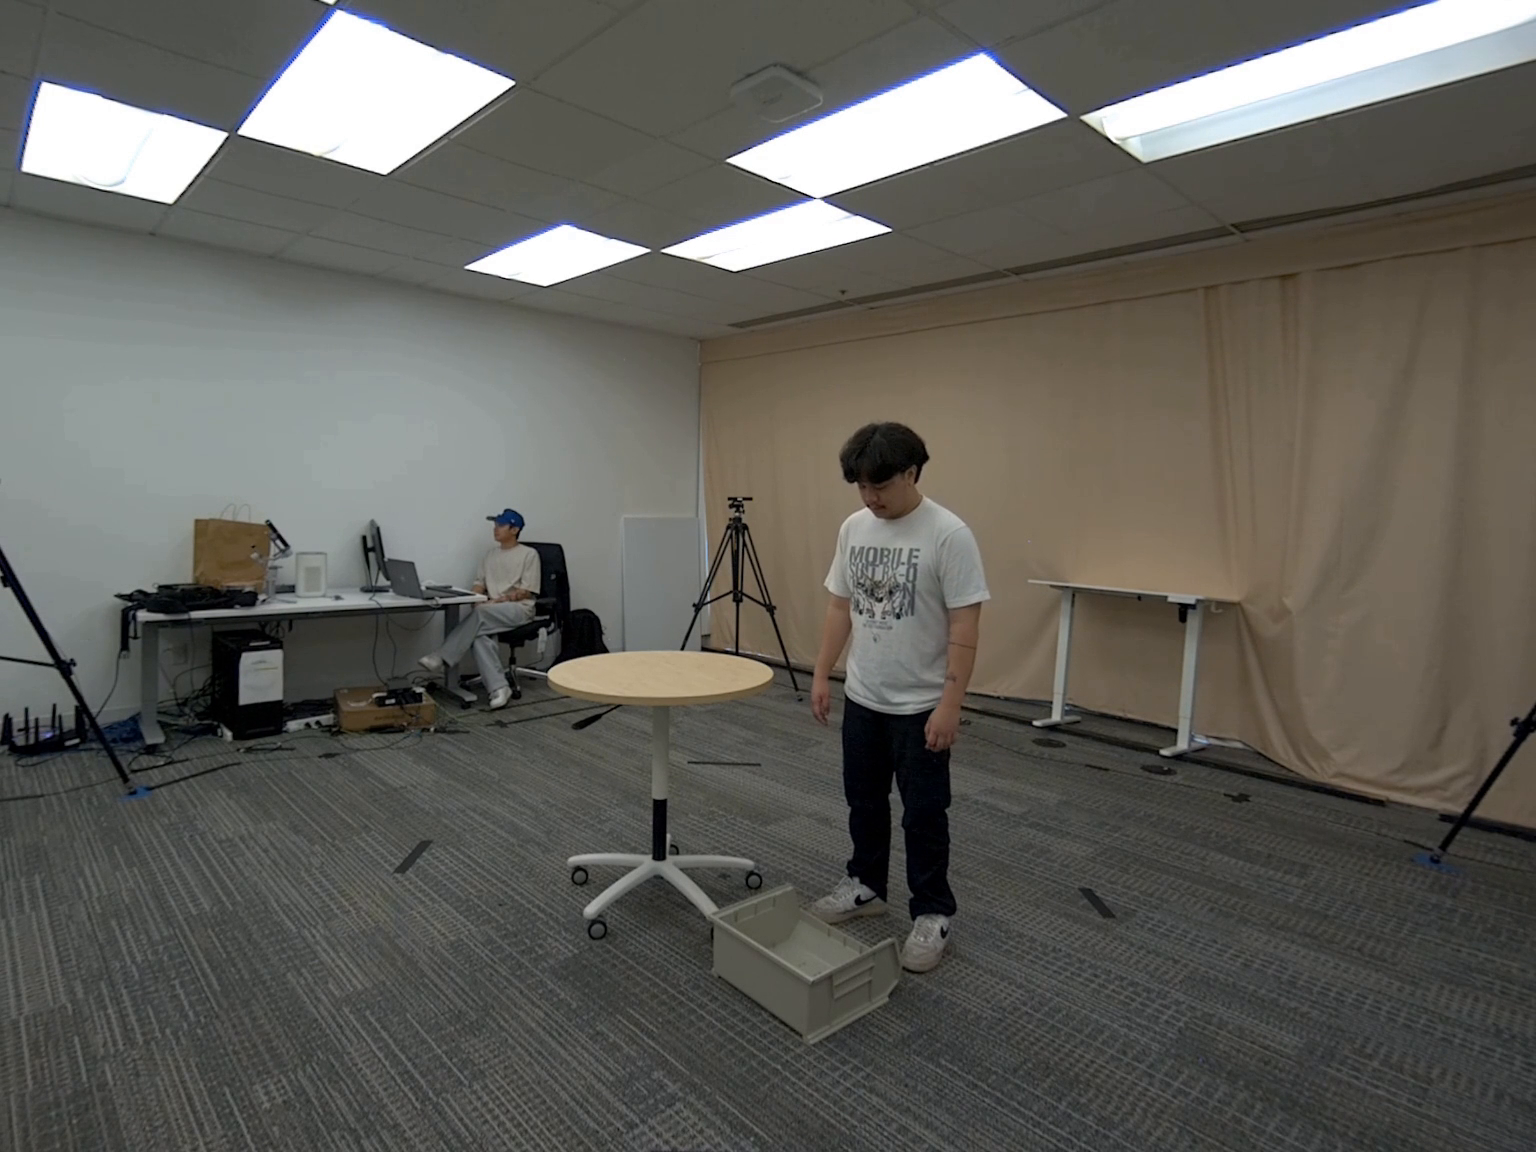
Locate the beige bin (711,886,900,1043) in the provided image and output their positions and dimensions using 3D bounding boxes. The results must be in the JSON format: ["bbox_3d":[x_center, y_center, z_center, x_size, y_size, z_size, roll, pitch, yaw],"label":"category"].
[{"bbox_3d":[0.097,1.089,2.412,0.369,0.188,0.433,-4,8,-42],"label":"beige bin"}]
